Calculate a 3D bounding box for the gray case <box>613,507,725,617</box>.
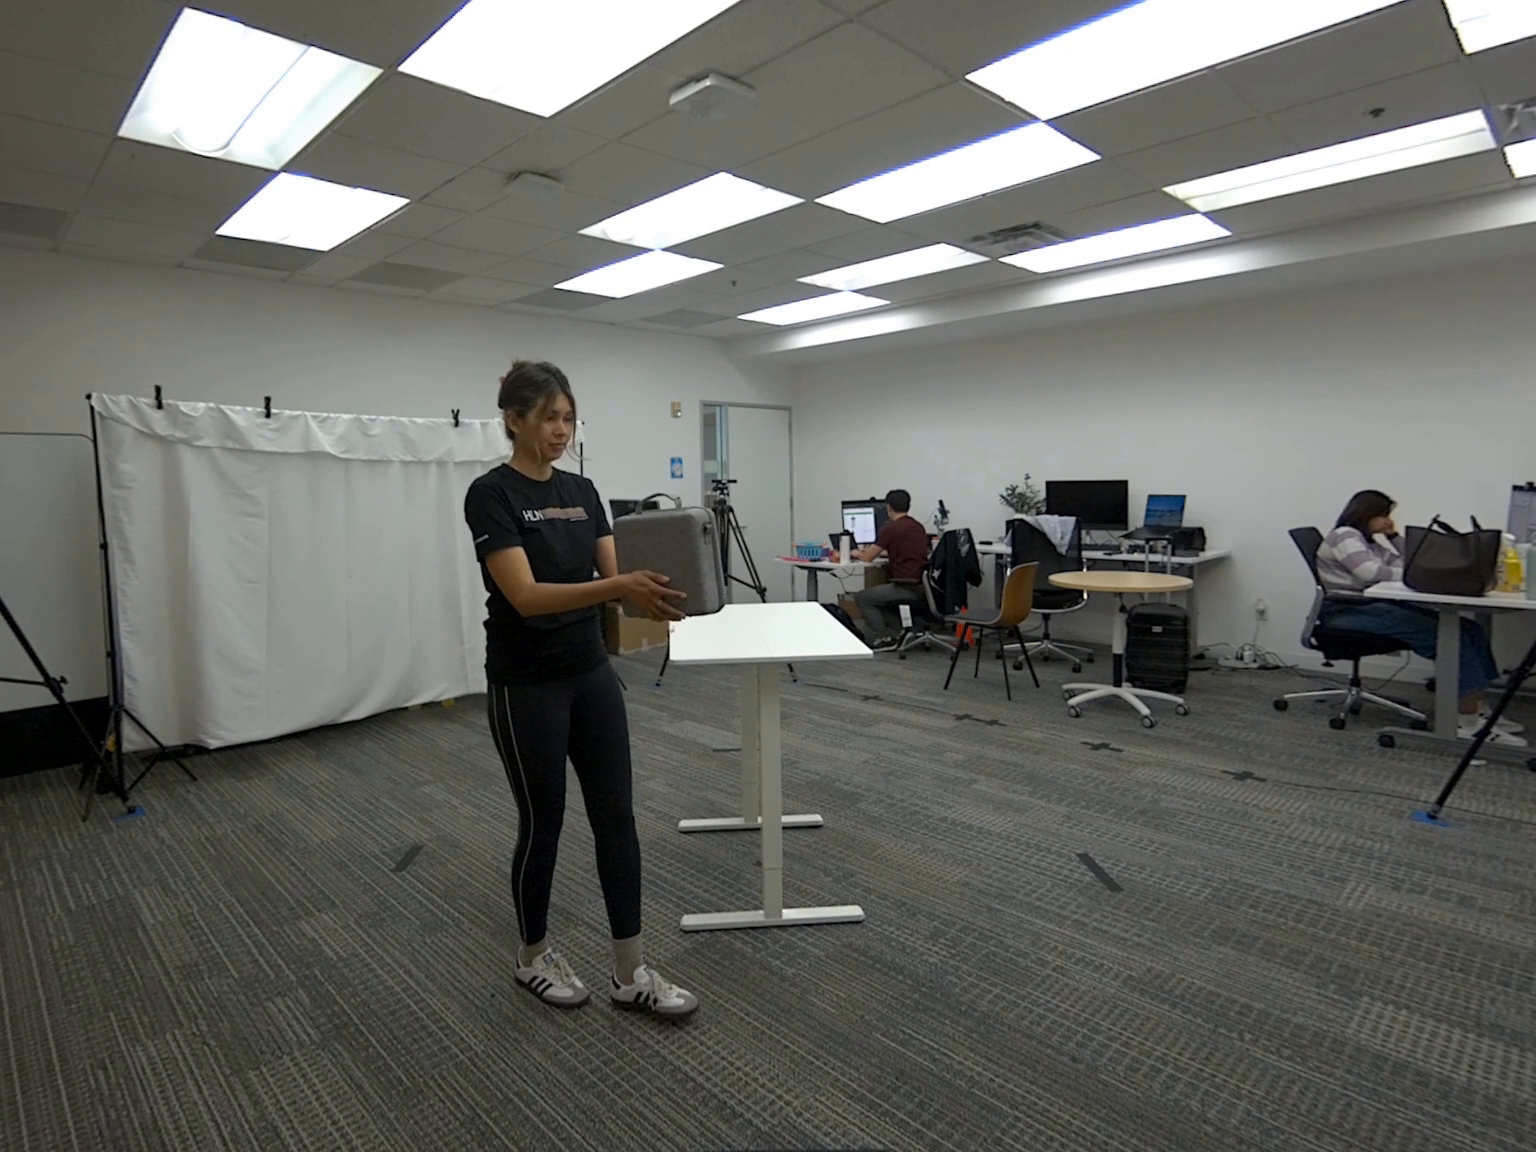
[{"bbox_3d":[-0.229,-0.036,2.036,0.263,0.260,0.102,-6,1,30],"label":"gray case"}]
